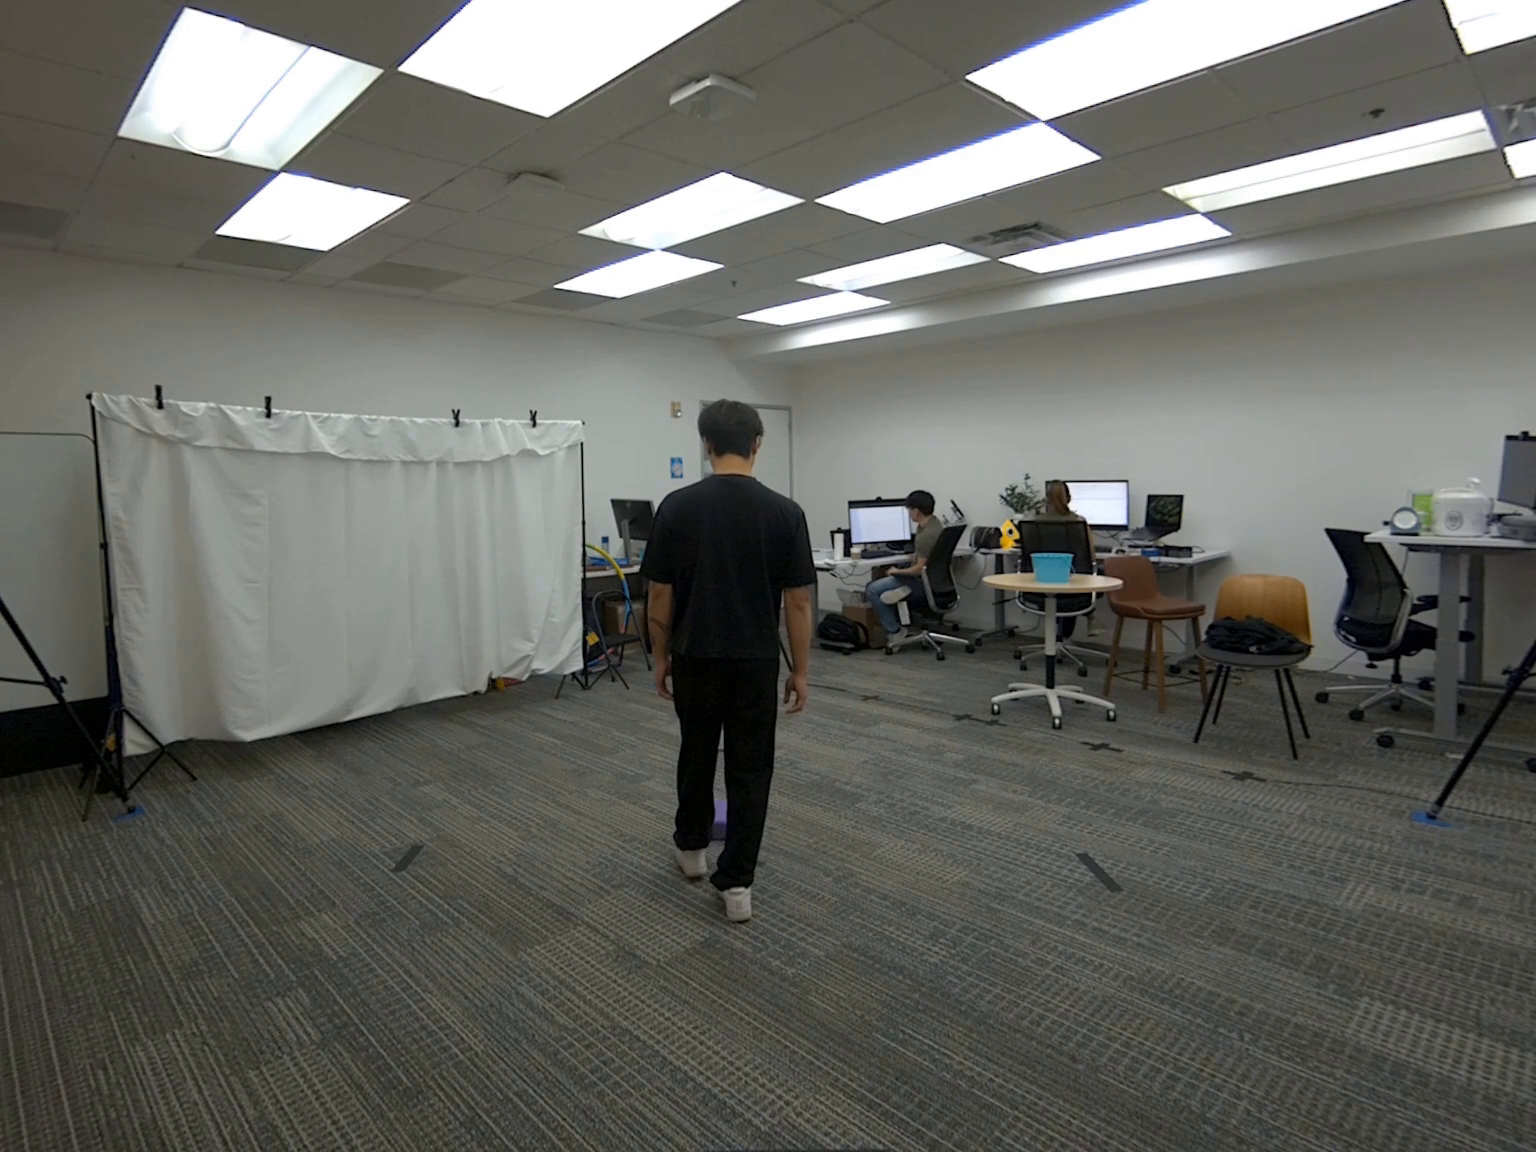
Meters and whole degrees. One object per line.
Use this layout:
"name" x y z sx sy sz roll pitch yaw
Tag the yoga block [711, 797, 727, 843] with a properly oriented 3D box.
"yoga block" -0.171 0.981 3.427 0.150 0.076 0.228 1 5 6
